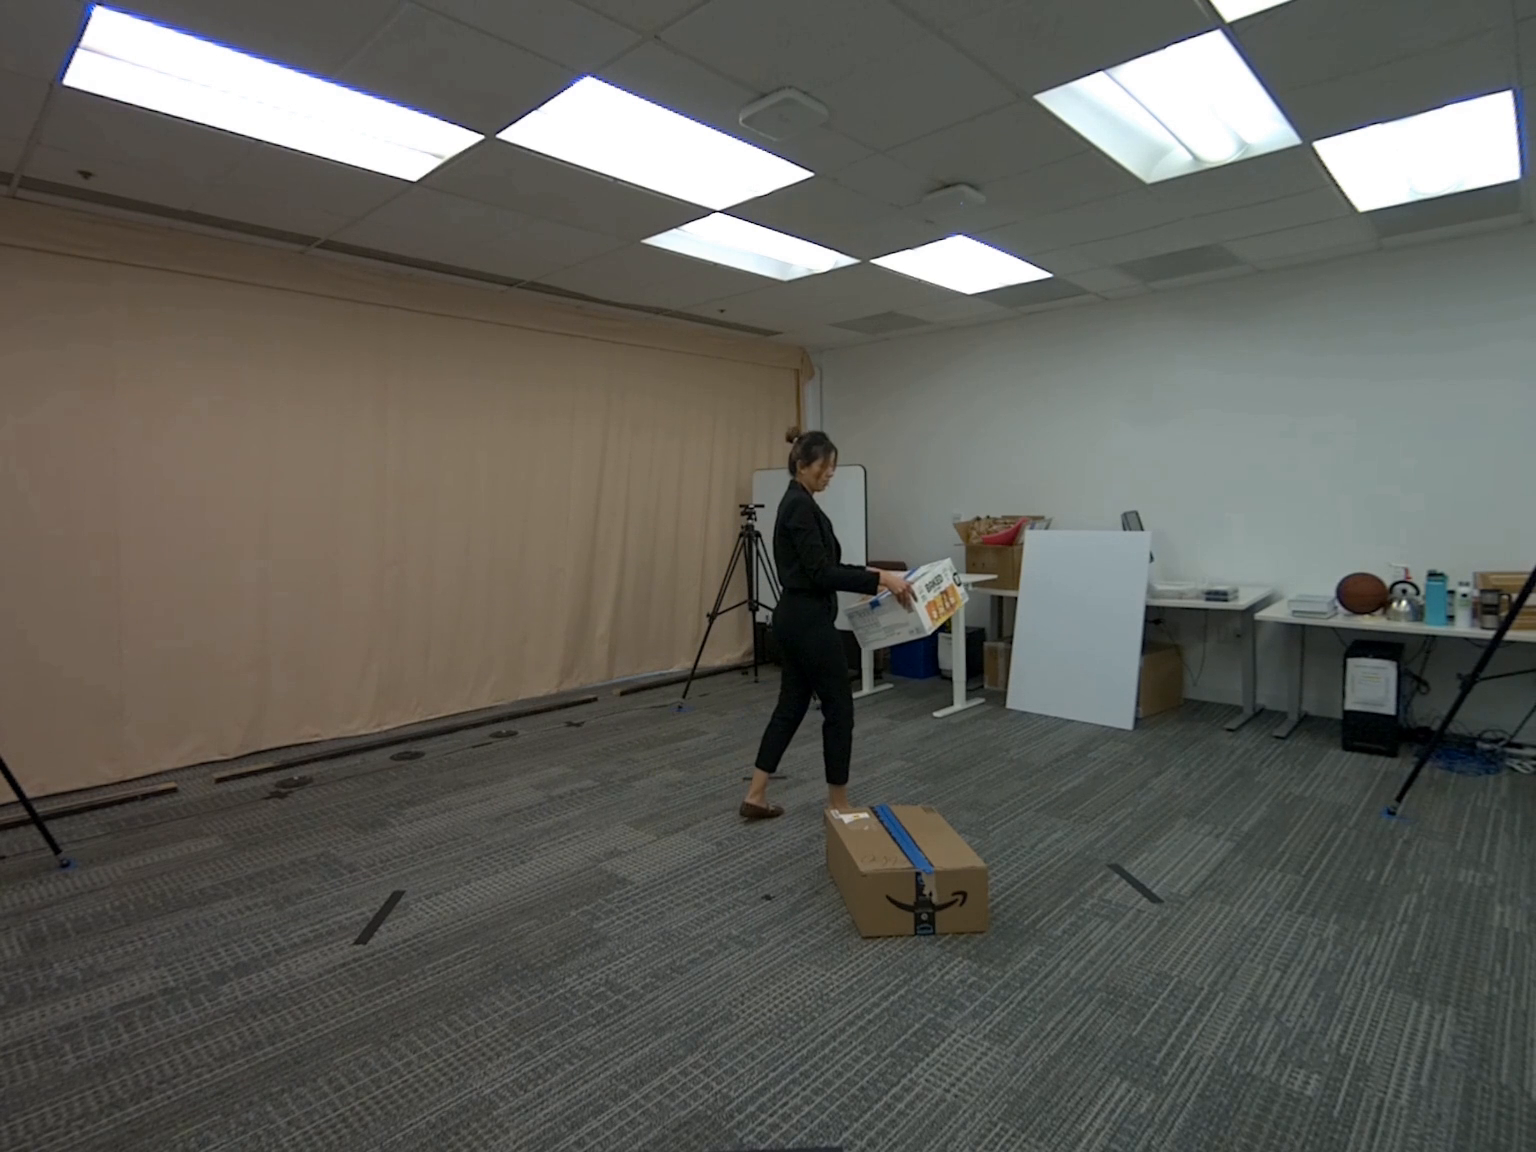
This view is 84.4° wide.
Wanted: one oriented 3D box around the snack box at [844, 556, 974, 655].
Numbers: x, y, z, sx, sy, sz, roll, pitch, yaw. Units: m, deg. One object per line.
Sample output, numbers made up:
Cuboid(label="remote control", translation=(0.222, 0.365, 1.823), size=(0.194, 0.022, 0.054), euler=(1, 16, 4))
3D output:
Cuboid(label="snack box", translation=(0.601, 0.121, 3.606), size=(0.348, 0.205, 0.397), euler=(-22, 6, 42))
